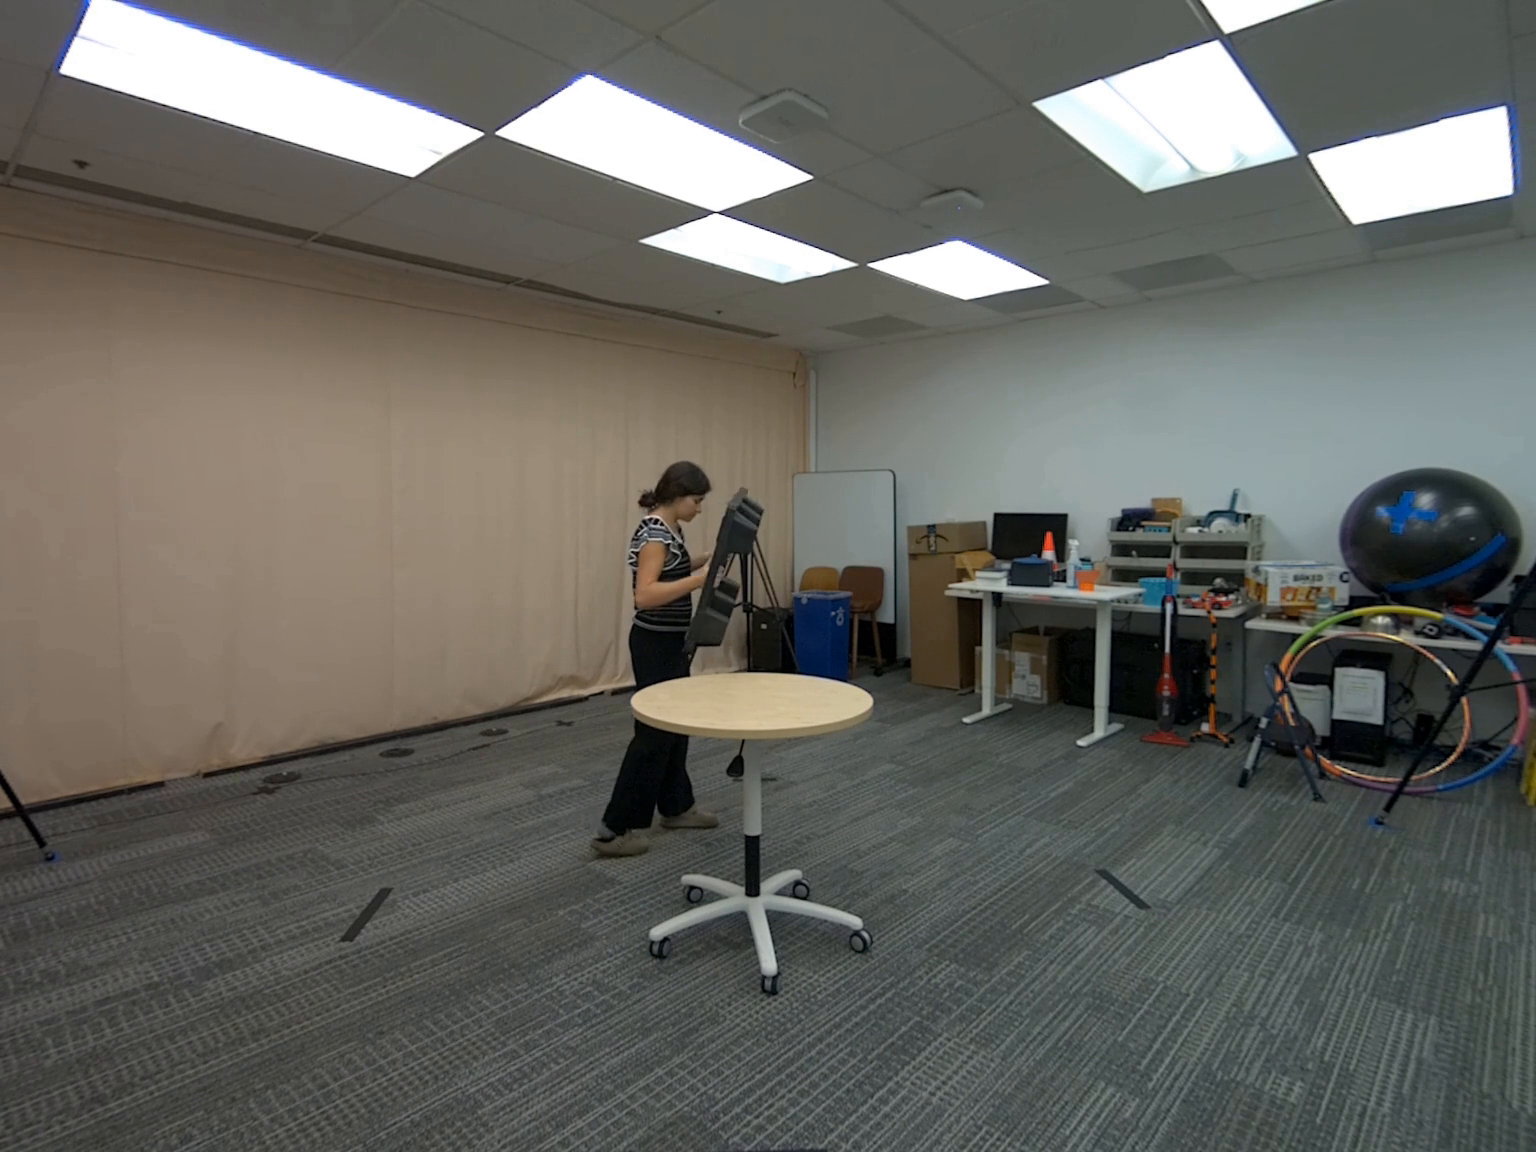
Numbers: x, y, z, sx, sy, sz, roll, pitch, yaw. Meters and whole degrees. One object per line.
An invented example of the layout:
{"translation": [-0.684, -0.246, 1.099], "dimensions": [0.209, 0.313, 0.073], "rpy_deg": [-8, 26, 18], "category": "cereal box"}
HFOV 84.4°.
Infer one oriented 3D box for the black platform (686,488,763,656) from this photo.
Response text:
{"translation": [-0.164, -0.041, 3.526], "dimensions": [0.143, 0.603, 0.808], "rpy_deg": [16, 11, -2], "category": "black platform"}
